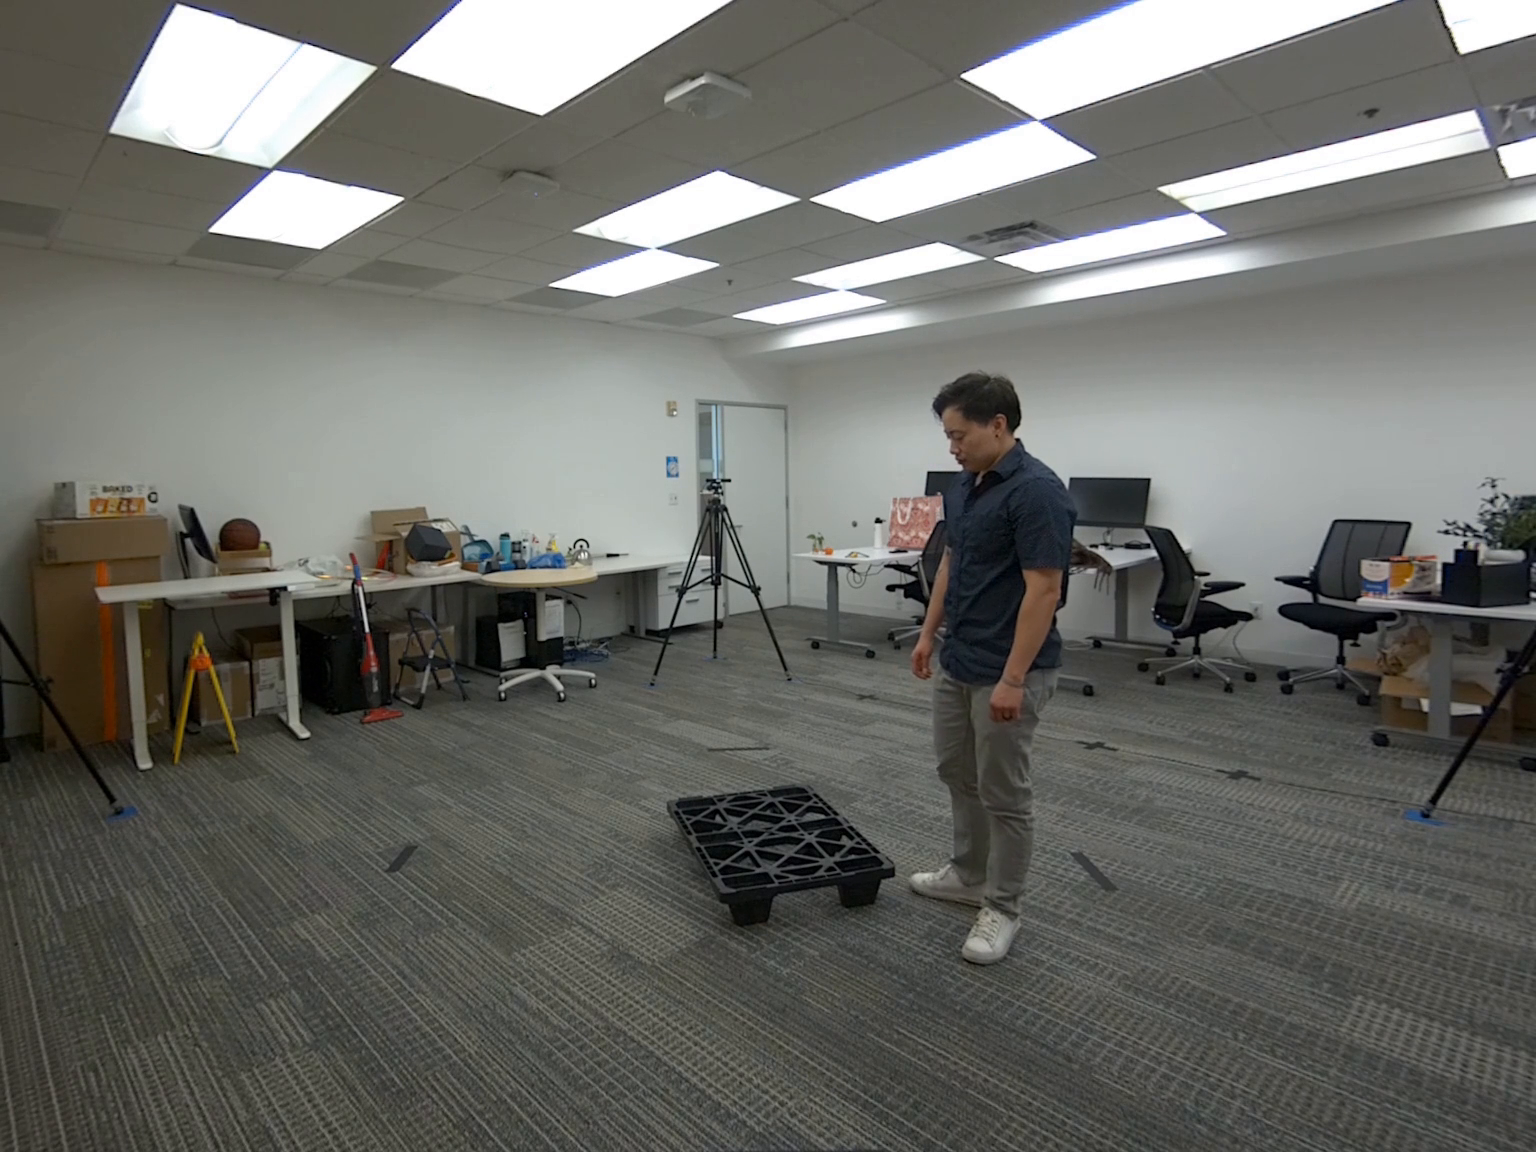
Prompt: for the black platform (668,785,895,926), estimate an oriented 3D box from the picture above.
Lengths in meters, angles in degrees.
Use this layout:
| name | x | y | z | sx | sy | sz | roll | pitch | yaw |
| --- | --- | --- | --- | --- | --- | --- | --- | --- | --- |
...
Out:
| name | x | y | z | sx | sy | sz | roll | pitch | yaw |
| --- | --- | --- | --- | --- | --- | --- | --- | --- | --- |
| black platform | 0.008 | 0.978 | 3.074 | 0.596 | 0.143 | 0.821 | -3 | 6 | -17 |
